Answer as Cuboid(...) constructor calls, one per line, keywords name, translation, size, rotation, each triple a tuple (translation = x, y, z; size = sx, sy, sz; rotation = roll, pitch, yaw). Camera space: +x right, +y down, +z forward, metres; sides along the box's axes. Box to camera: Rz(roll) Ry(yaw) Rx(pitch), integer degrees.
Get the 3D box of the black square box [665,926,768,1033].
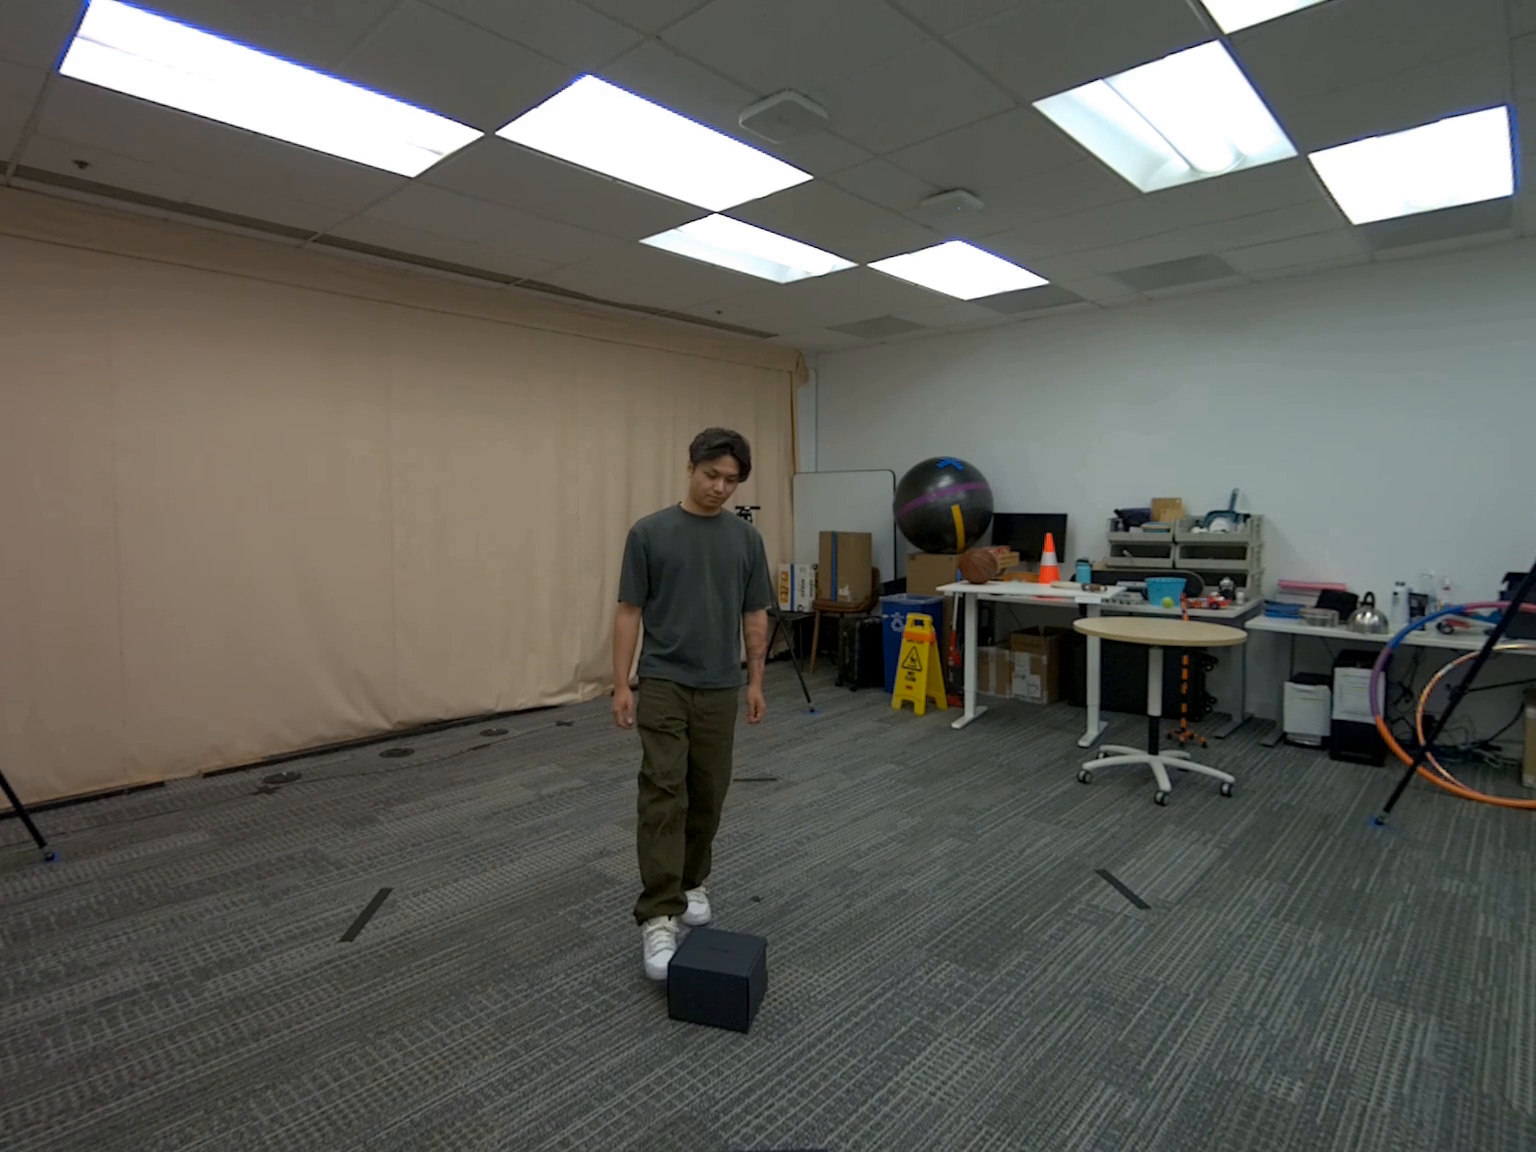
Cuboid(name="black square box", translation=(-0.131, 1.115, 2.343), size=(0.232, 0.155, 0.214), rotation=(0, 4, 15))
